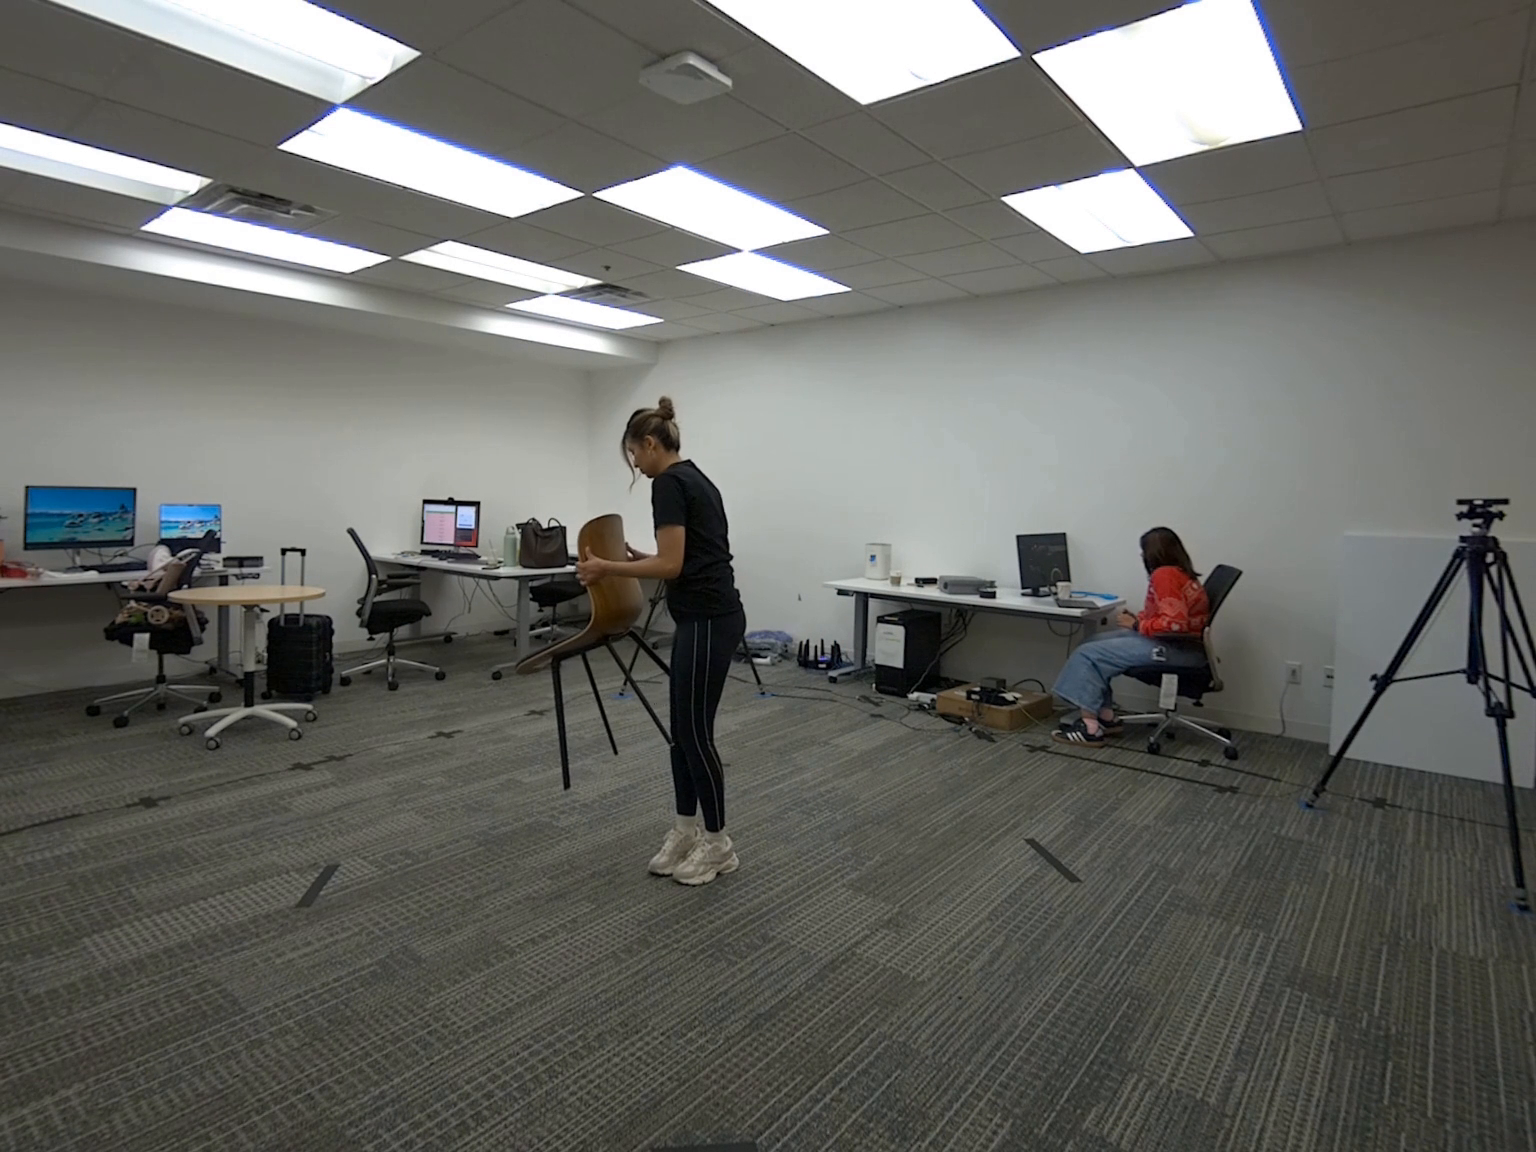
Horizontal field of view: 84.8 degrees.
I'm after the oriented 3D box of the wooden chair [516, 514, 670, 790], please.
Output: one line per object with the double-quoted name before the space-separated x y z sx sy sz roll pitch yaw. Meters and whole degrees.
"wooden chair" -0.675 0.268 3.218 0.528 0.880 0.472 -22 -2 15
